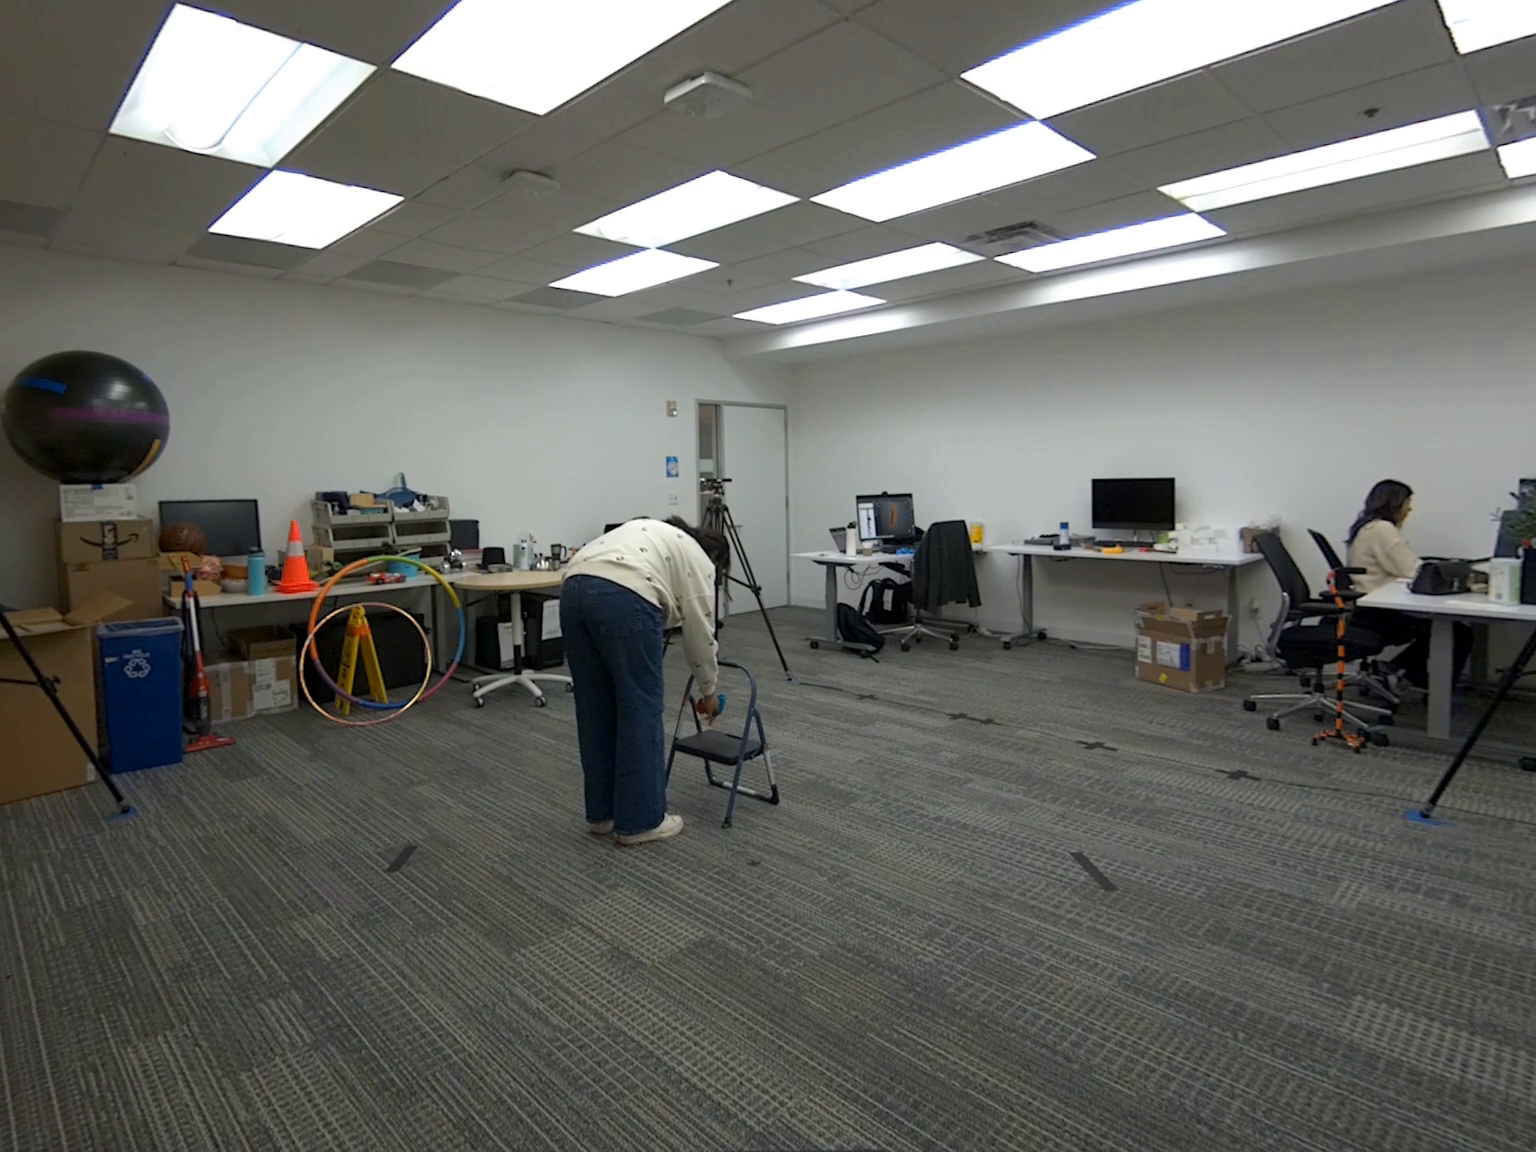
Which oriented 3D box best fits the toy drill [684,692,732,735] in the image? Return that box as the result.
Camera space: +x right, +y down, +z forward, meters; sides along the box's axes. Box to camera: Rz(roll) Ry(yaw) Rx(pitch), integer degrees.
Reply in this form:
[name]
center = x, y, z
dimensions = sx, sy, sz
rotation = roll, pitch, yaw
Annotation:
[toy drill]
center = -0.265, 0.598, 3.744
dimensions = 0.141, 0.168, 0.063
rotation = 4, 27, -45
